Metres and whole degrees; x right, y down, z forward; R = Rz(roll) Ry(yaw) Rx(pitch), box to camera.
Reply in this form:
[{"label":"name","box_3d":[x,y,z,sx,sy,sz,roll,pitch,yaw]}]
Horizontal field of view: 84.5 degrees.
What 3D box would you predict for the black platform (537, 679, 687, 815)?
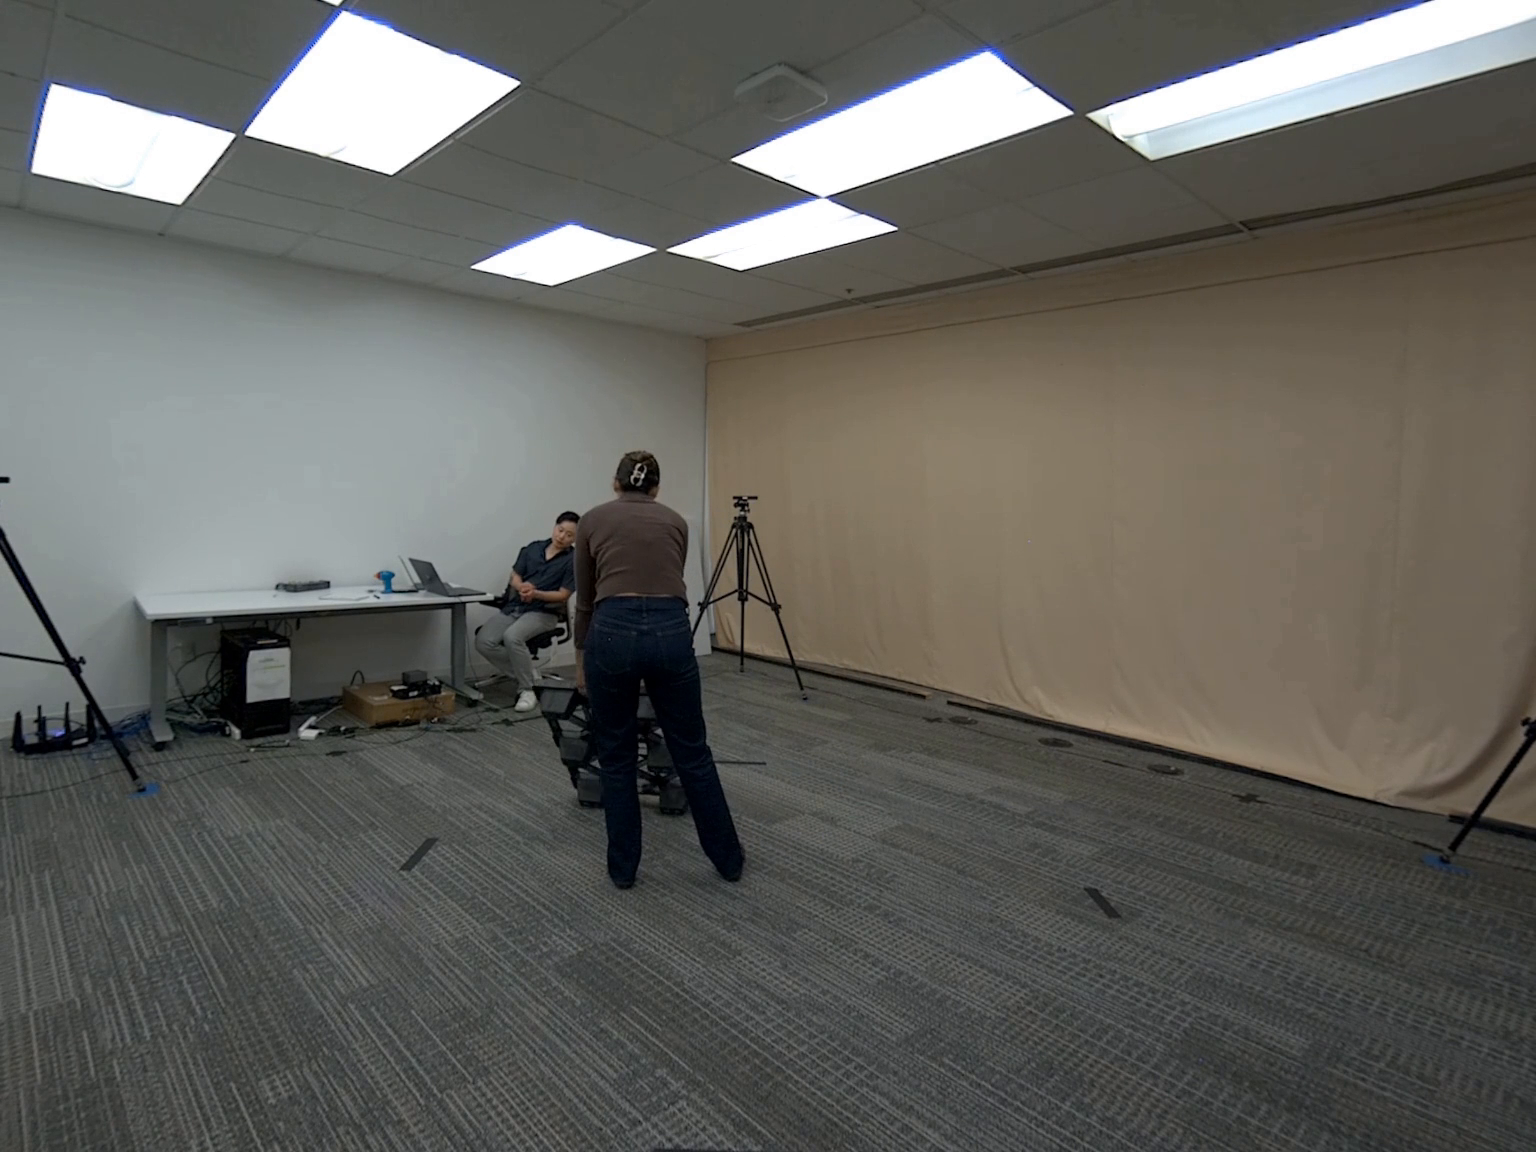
[{"label":"black platform","box_3d":[-0.634,0.733,3.514,0.610,0.786,0.146,3,44,9]}]
